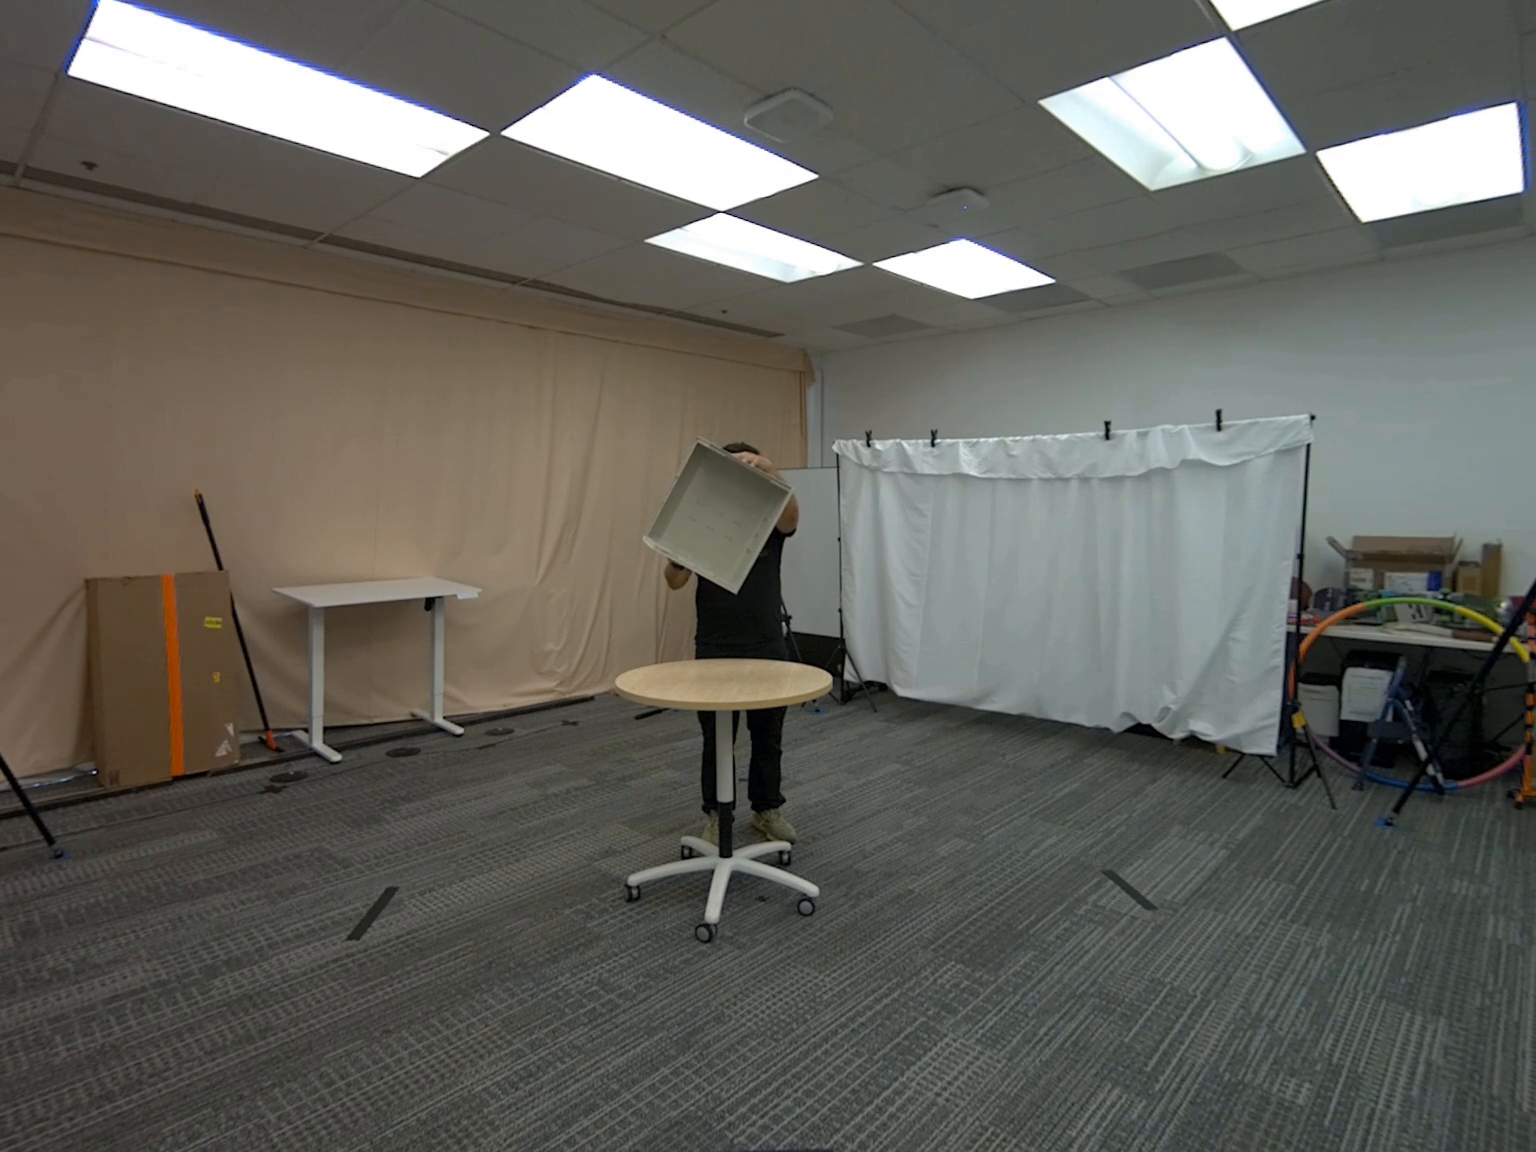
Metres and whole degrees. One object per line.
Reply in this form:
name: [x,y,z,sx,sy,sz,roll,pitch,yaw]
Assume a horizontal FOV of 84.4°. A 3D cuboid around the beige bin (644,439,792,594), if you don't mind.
beige bin: [-0.175,-0.216,3.000,0.373,0.422,0.191,28,4,-9]
